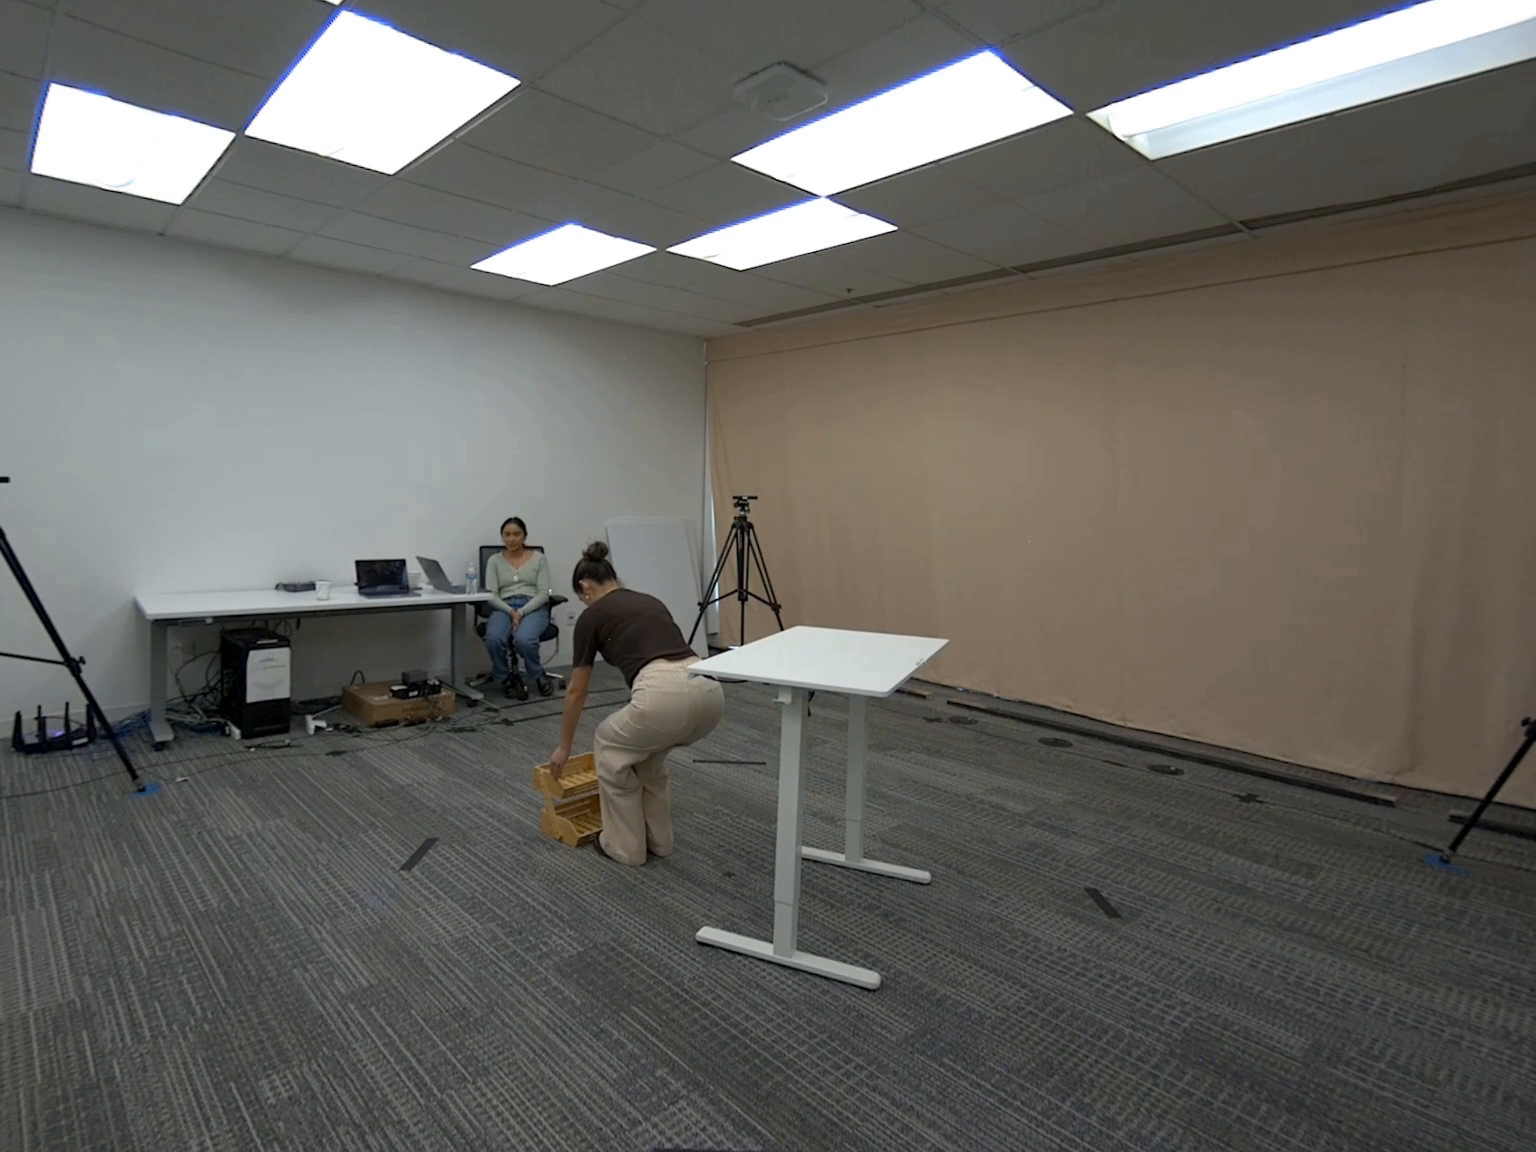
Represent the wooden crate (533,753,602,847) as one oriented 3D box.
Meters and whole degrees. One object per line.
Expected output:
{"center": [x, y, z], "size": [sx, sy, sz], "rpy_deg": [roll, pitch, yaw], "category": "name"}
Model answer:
{"center": [-0.765, 0.915, 3.500], "size": [0.309, 0.272, 0.317], "rpy_deg": [4, 5, 40], "category": "wooden crate"}
